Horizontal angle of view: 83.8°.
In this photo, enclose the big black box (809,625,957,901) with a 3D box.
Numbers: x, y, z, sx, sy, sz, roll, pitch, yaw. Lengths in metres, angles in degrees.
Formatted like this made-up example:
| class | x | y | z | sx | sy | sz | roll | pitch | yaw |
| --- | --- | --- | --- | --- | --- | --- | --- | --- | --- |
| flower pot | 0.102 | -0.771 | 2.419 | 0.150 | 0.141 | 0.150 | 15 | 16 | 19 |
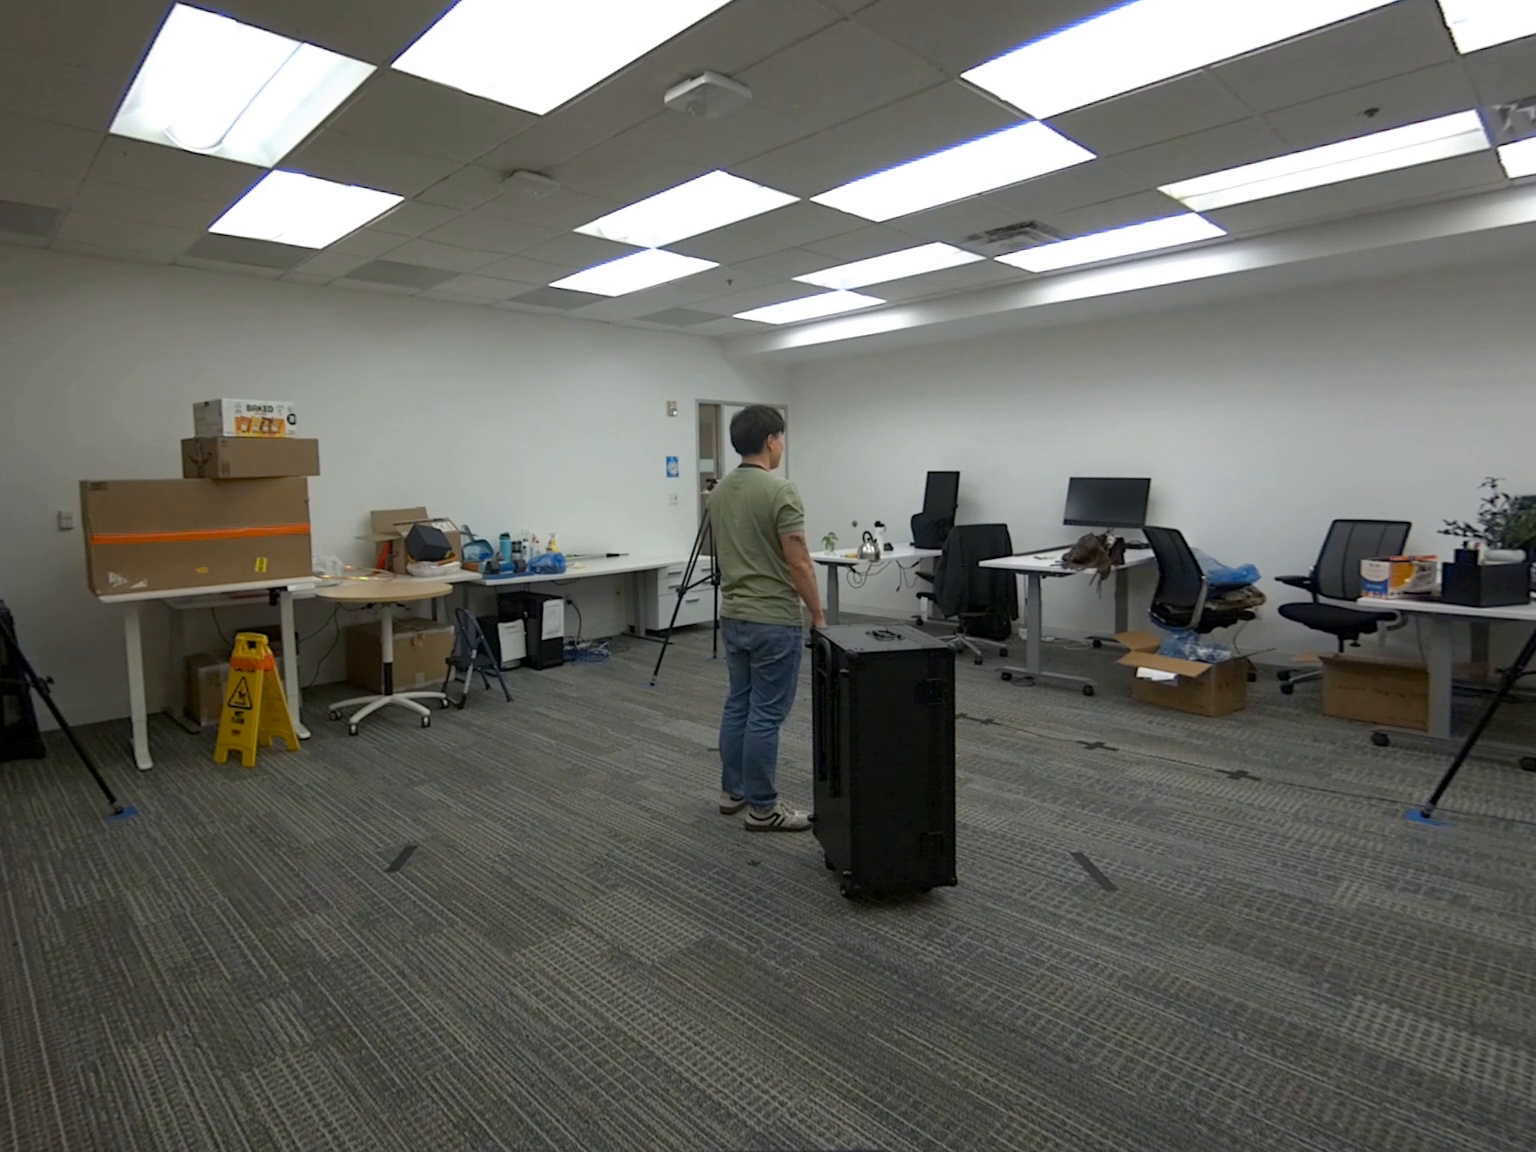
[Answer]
| class | x | y | z | sx | sy | sz | roll | pitch | yaw |
| --- | --- | --- | --- | --- | --- | --- | --- | --- | --- |
| big black box | 0.378 | 0.566 | 2.952 | 0.392 | 0.859 | 0.528 | -1 | 4 | -11 |
